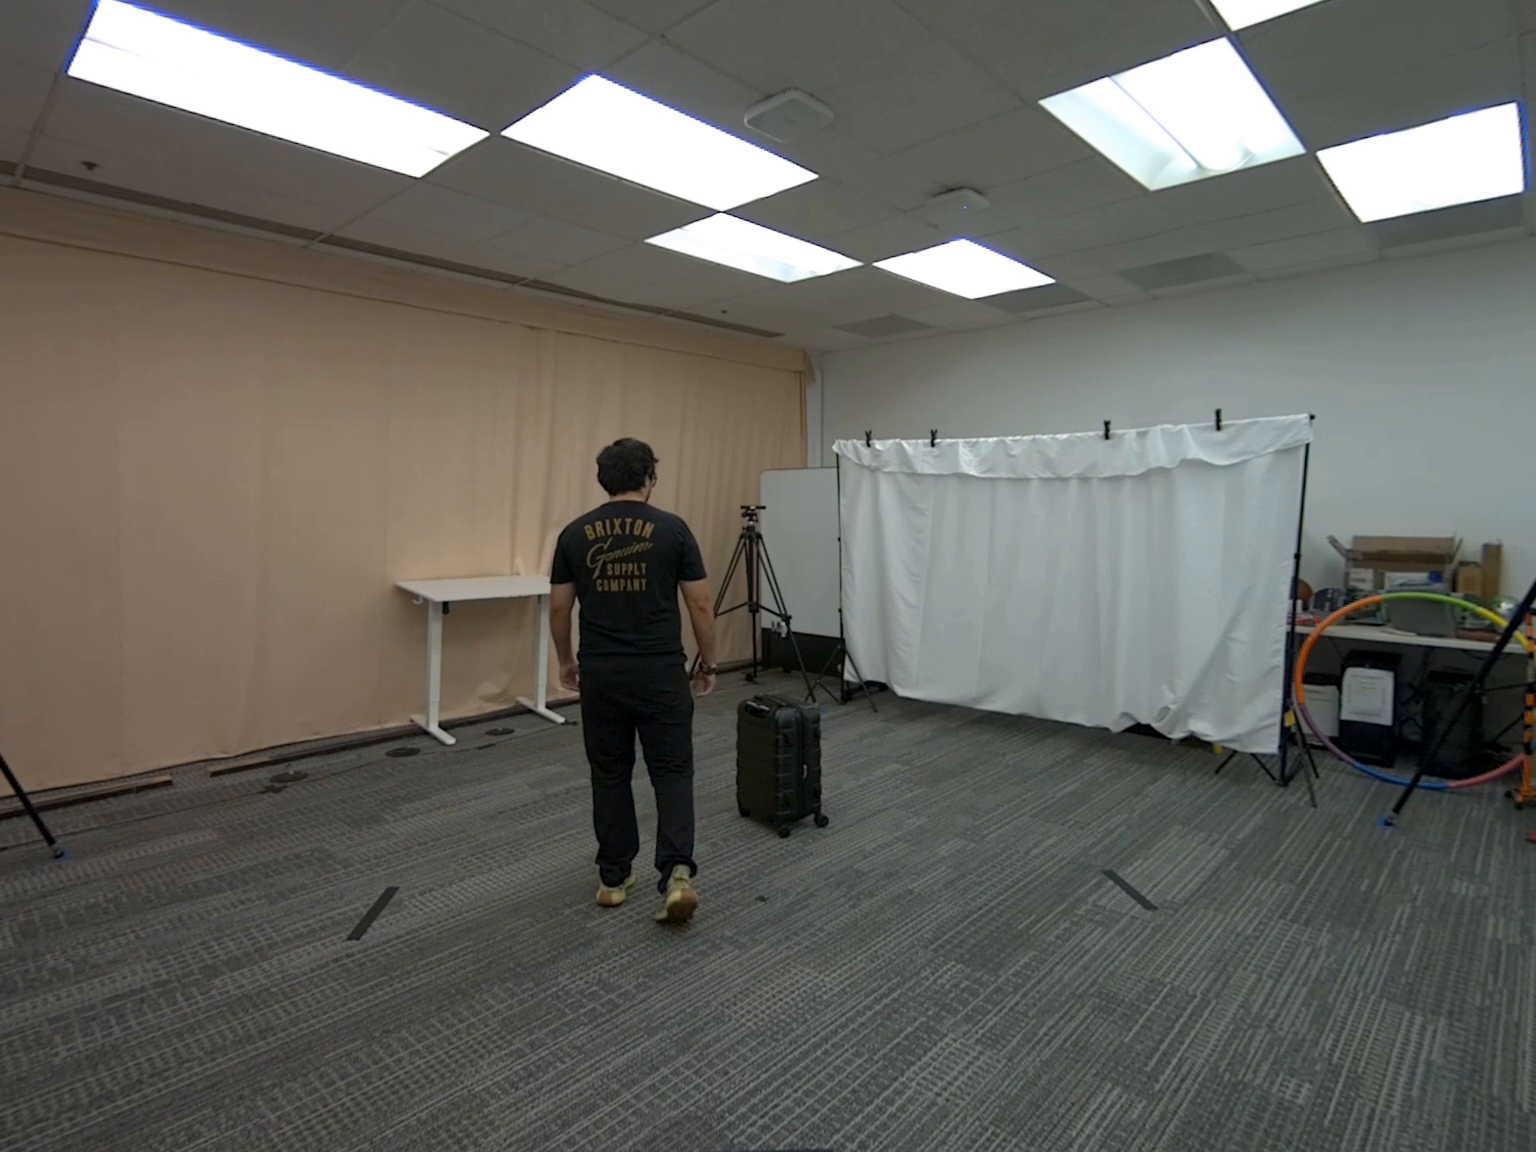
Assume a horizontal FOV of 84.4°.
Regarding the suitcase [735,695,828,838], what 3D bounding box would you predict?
[{"bbox_3d":[0.047,0.804,3.714,0.241,0.548,0.387,-3,3,-35],"label":"suitcase"}]
